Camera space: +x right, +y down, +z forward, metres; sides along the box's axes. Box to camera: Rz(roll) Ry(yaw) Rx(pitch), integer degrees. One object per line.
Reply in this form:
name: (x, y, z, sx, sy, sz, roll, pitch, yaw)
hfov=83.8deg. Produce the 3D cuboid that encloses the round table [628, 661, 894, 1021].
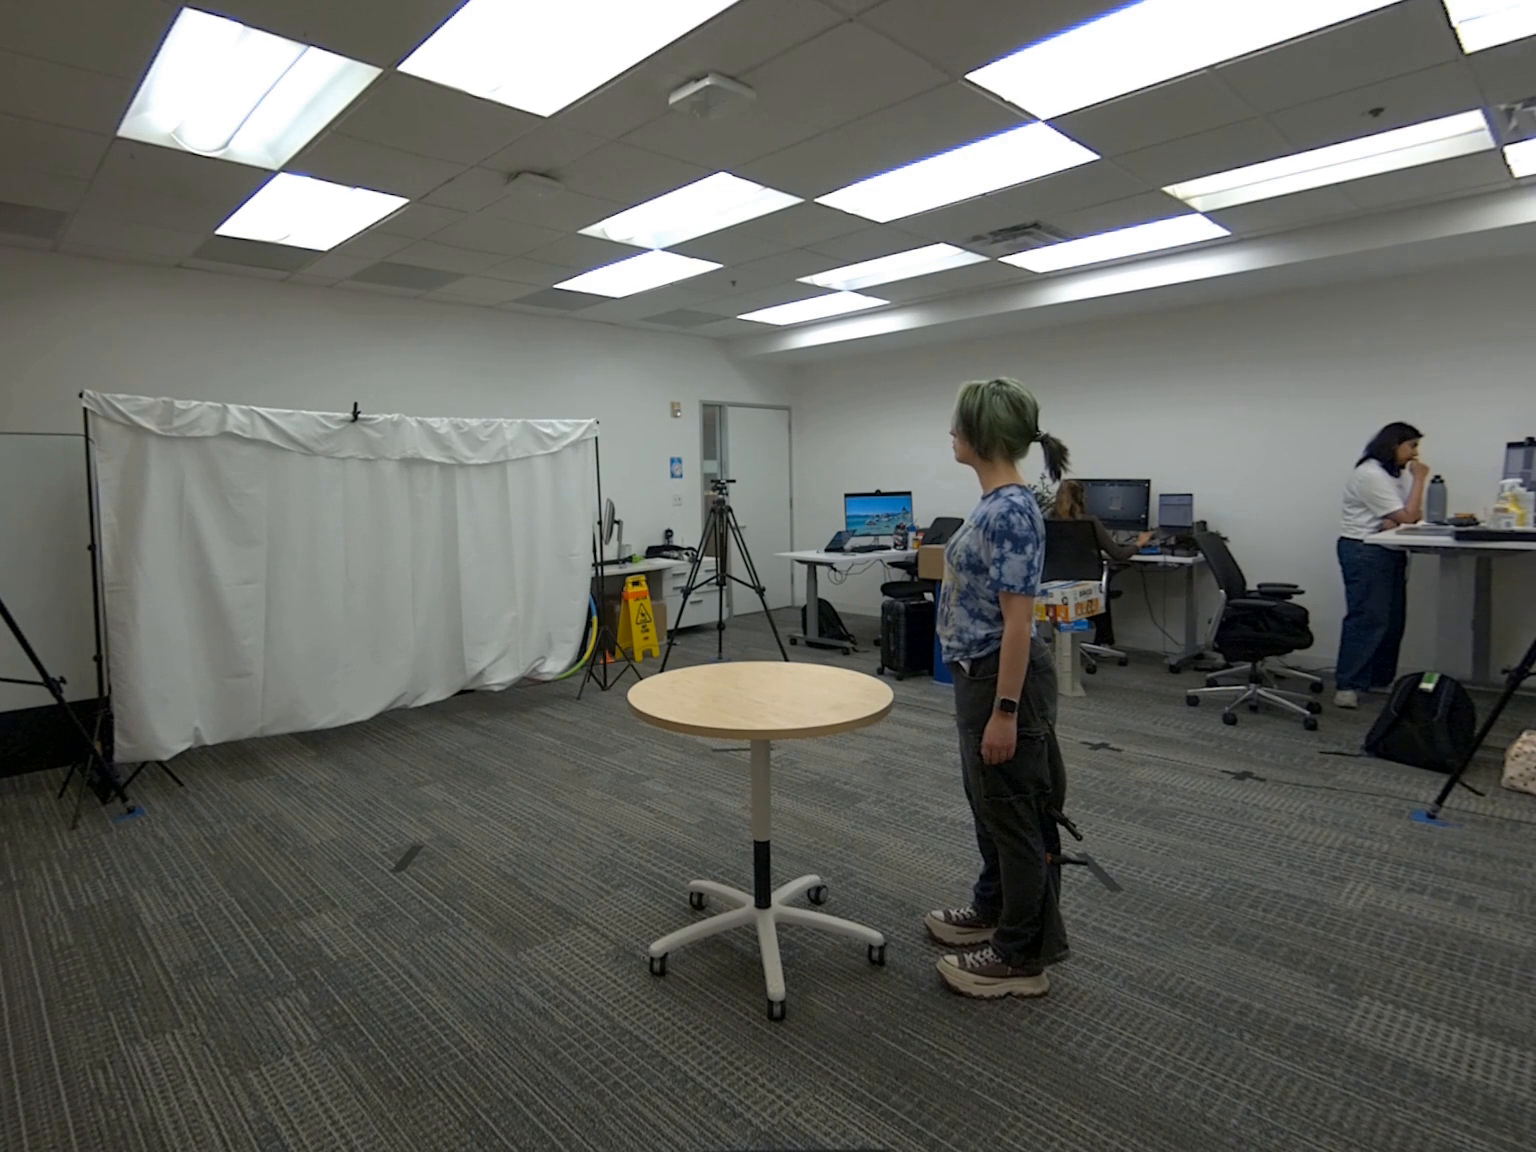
round table: (-0.014, 0.728, 2.507, 0.763, 0.791, 0.768, -1, 5, -2)
